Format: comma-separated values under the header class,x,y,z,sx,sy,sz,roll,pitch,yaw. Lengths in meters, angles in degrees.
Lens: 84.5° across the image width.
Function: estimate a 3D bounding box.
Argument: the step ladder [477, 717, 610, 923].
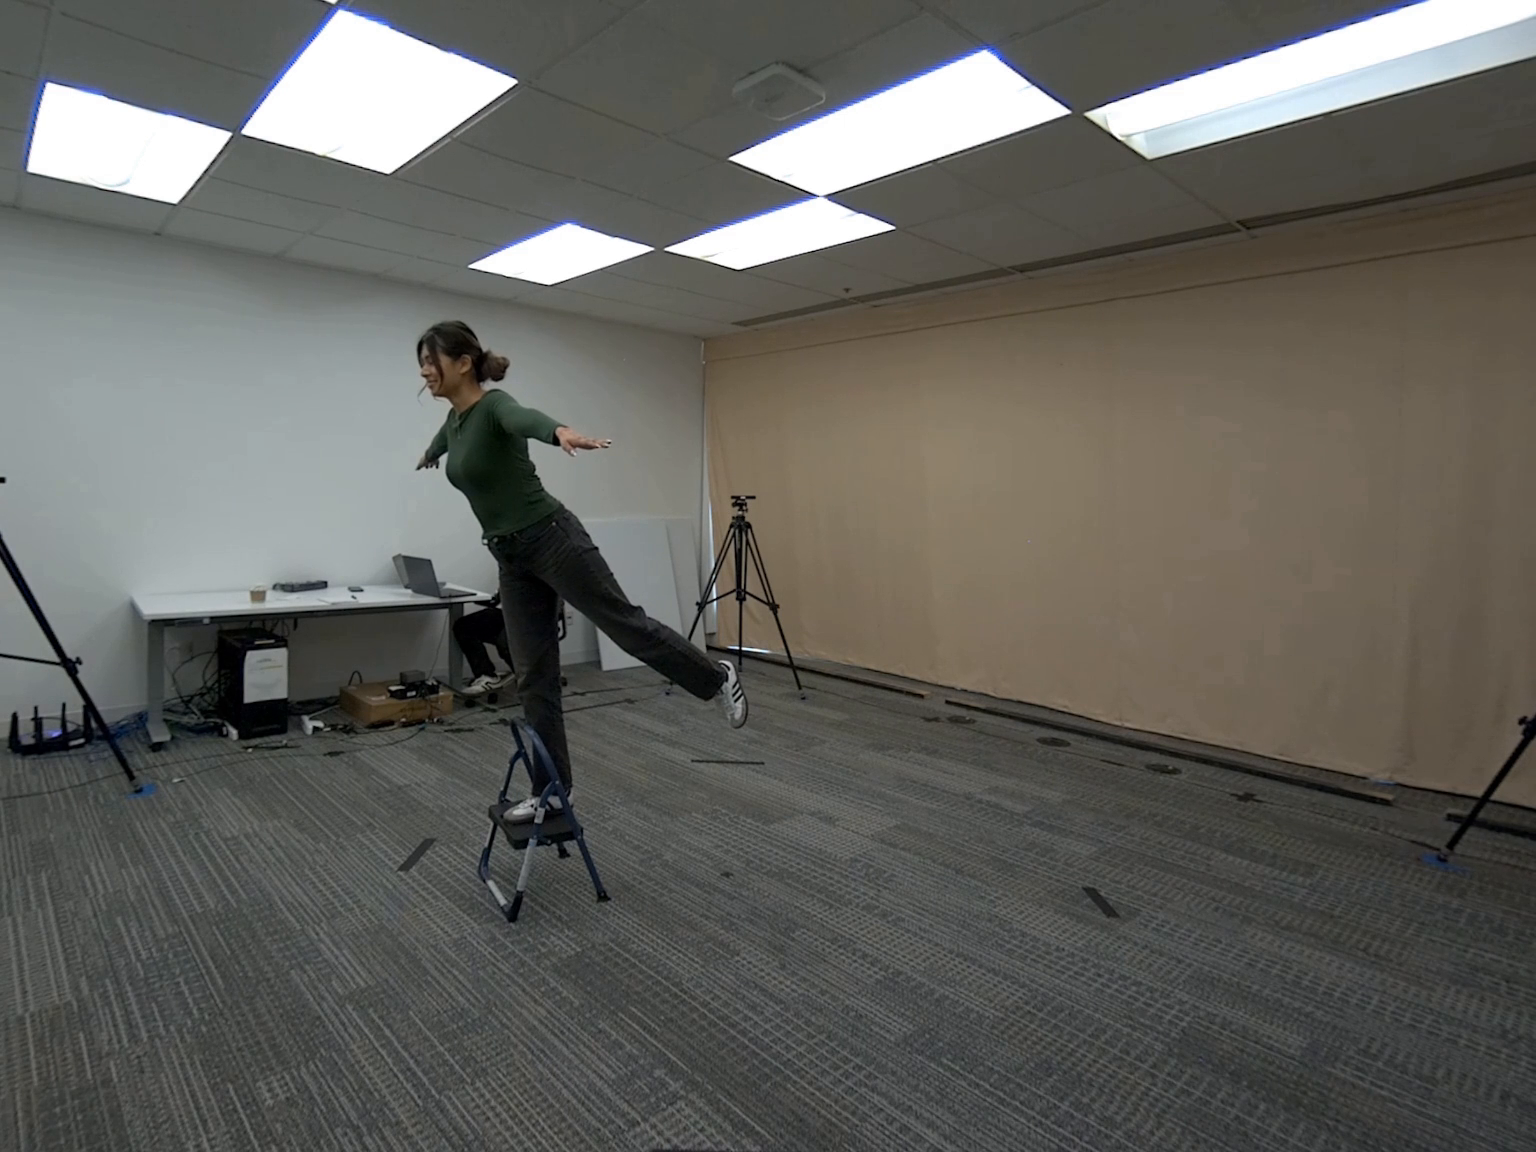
class,x,y,z,sx,sy,sz,roll,pitch,yaw
step ladder,-0.802,0.801,2.960,0.342,0.604,0.441,-1,4,-33
